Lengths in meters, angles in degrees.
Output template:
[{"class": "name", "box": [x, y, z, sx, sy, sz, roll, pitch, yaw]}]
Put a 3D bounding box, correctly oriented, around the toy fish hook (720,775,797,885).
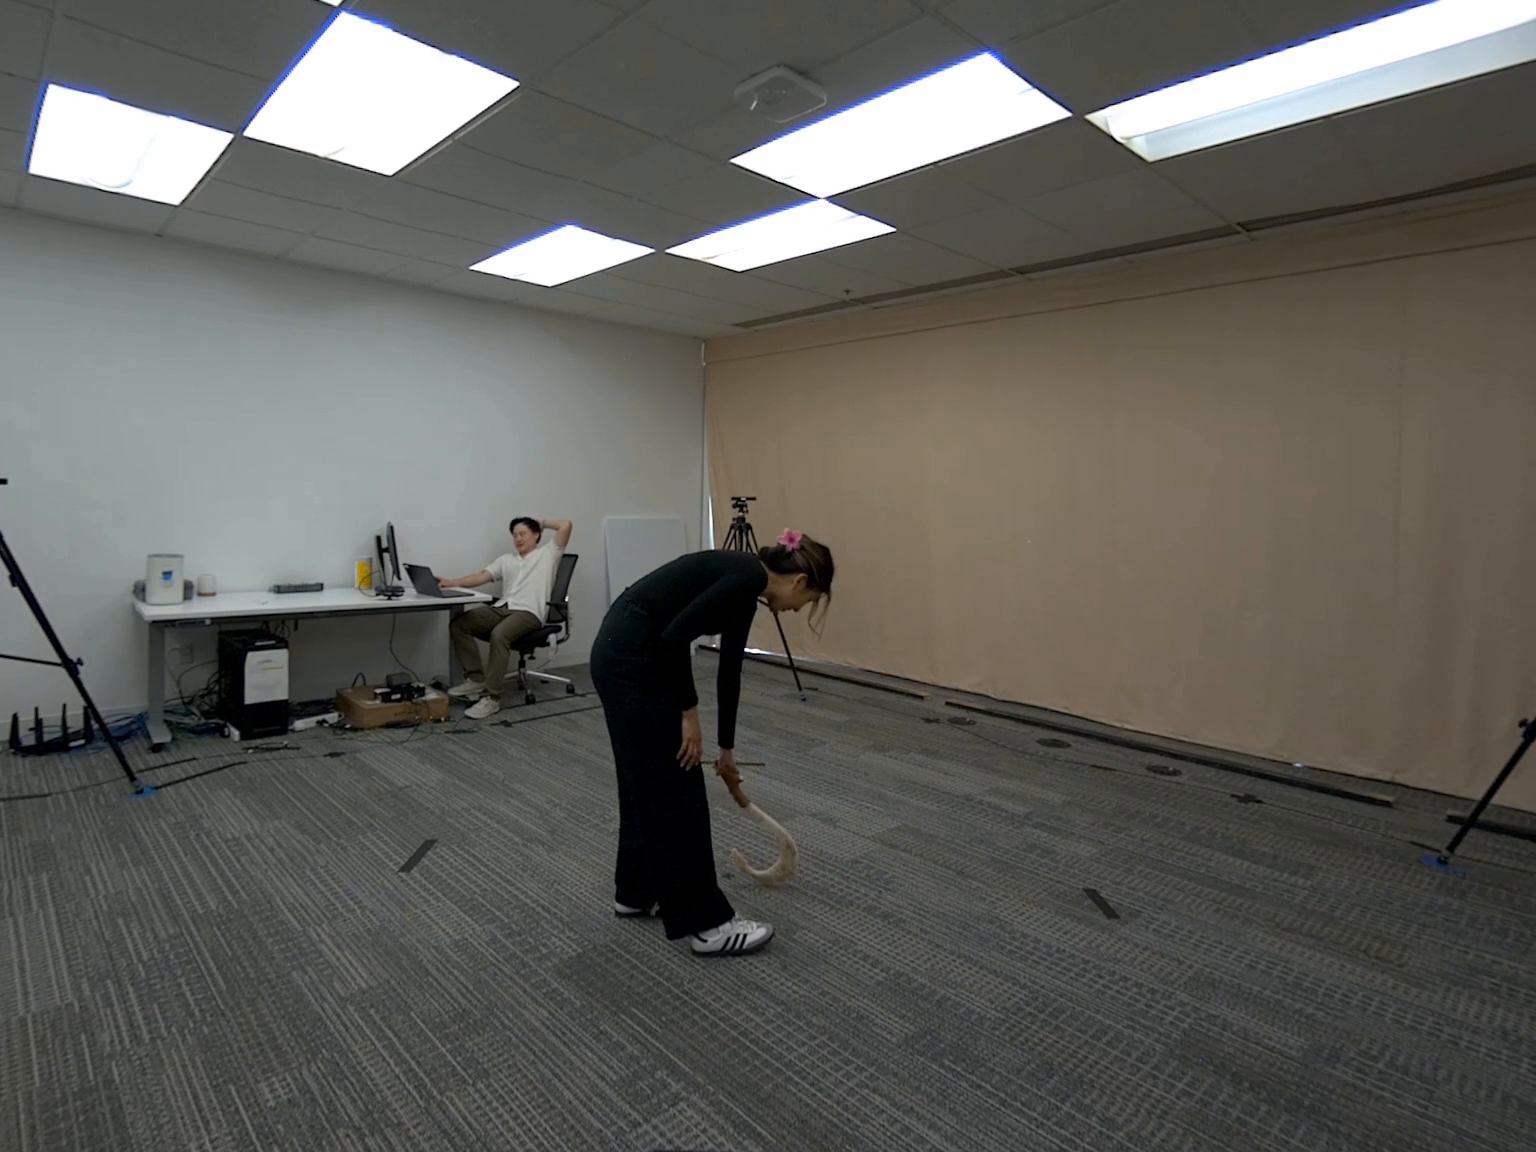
[{"class": "toy fish hook", "box": [-0.091, 0.886, 3.010, 0.224, 0.505, 0.048, -33, 2, 1]}]
